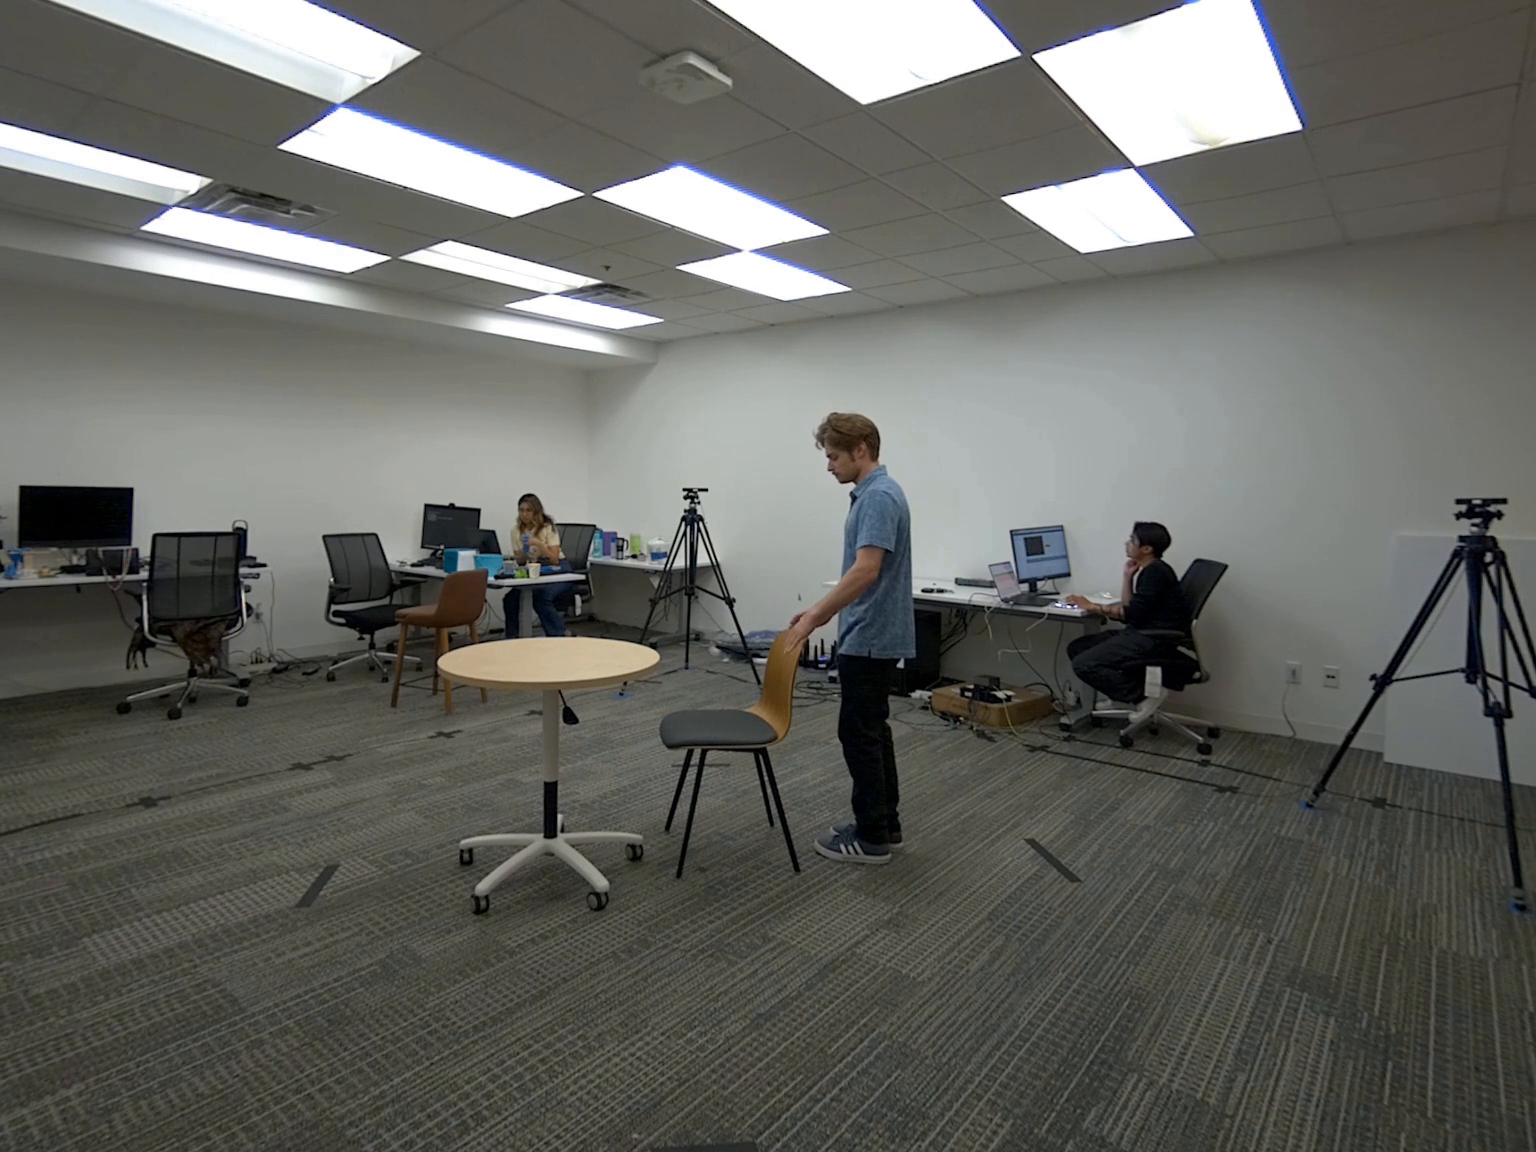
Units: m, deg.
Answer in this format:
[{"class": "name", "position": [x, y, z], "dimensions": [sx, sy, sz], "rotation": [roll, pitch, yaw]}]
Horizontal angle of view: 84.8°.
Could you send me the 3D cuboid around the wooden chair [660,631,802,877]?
[{"class": "wooden chair", "position": [-0.162, 0.627, 3.254], "dimensions": [0.516, 0.875, 0.486], "rotation": [5, 3, -12]}]
